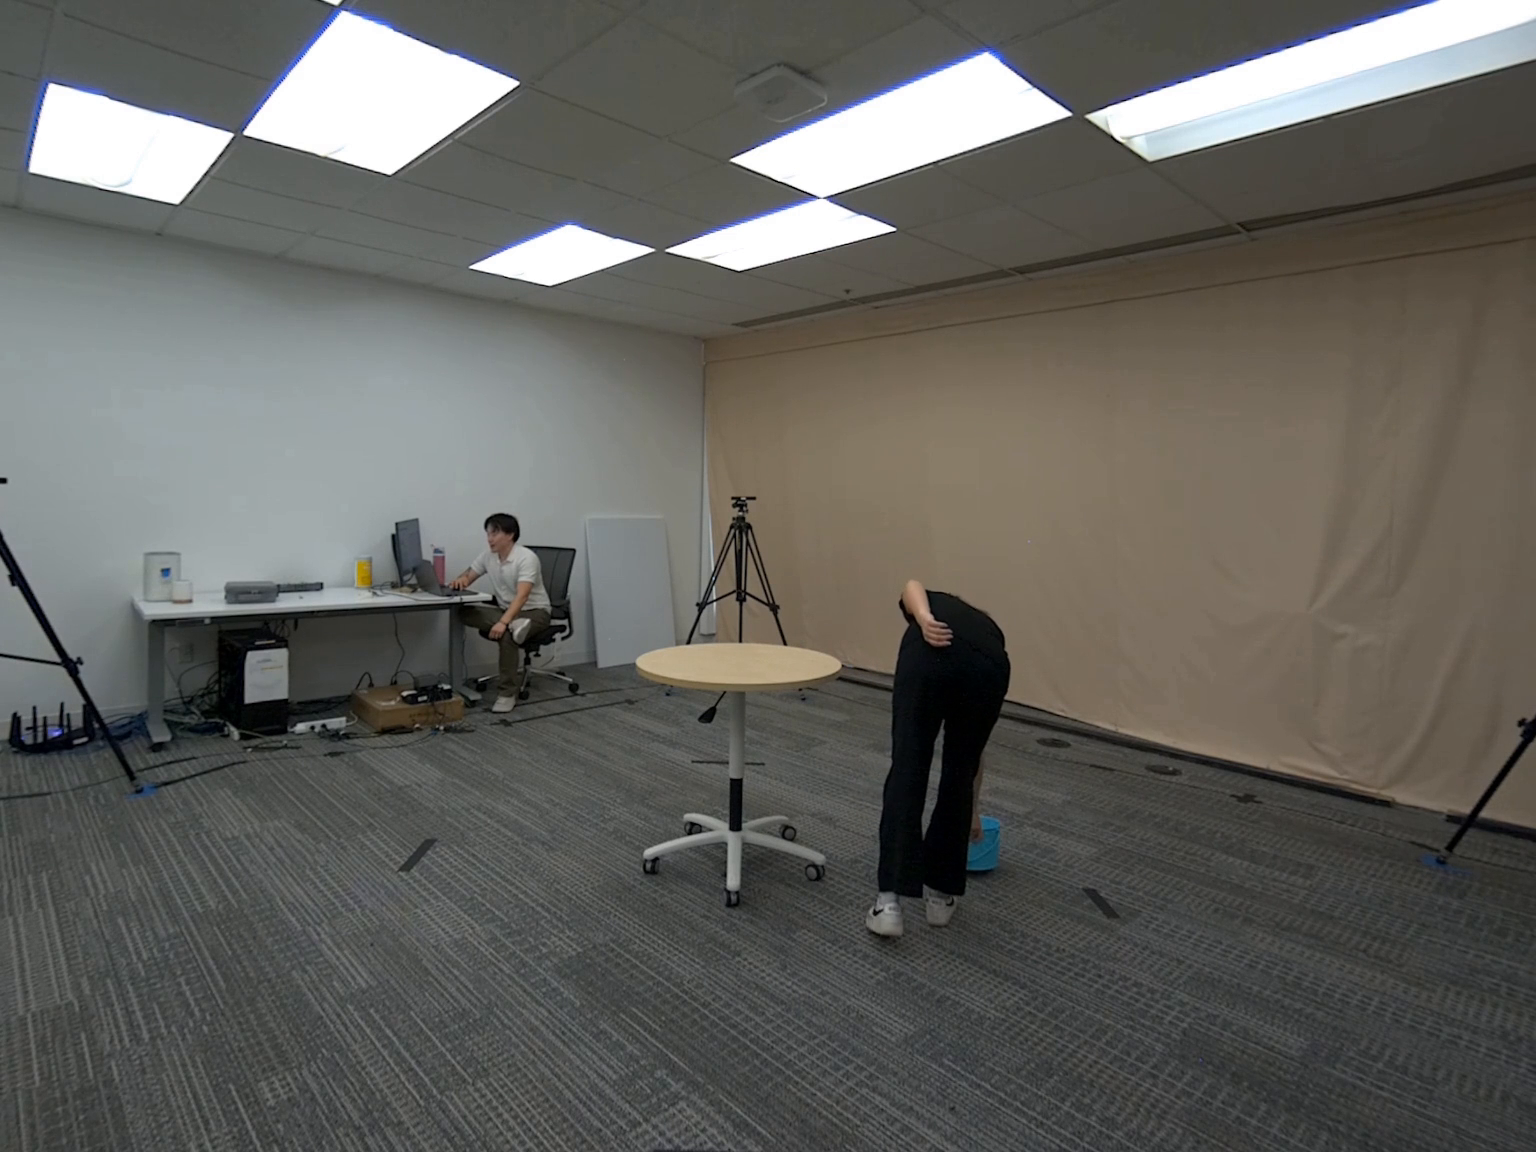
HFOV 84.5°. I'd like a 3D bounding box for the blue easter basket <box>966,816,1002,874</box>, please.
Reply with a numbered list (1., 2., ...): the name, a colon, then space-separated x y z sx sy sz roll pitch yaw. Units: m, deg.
1. blue easter basket: 0.770 1.021 3.223 0.243 0.156 0.243 -1 -3 -1
